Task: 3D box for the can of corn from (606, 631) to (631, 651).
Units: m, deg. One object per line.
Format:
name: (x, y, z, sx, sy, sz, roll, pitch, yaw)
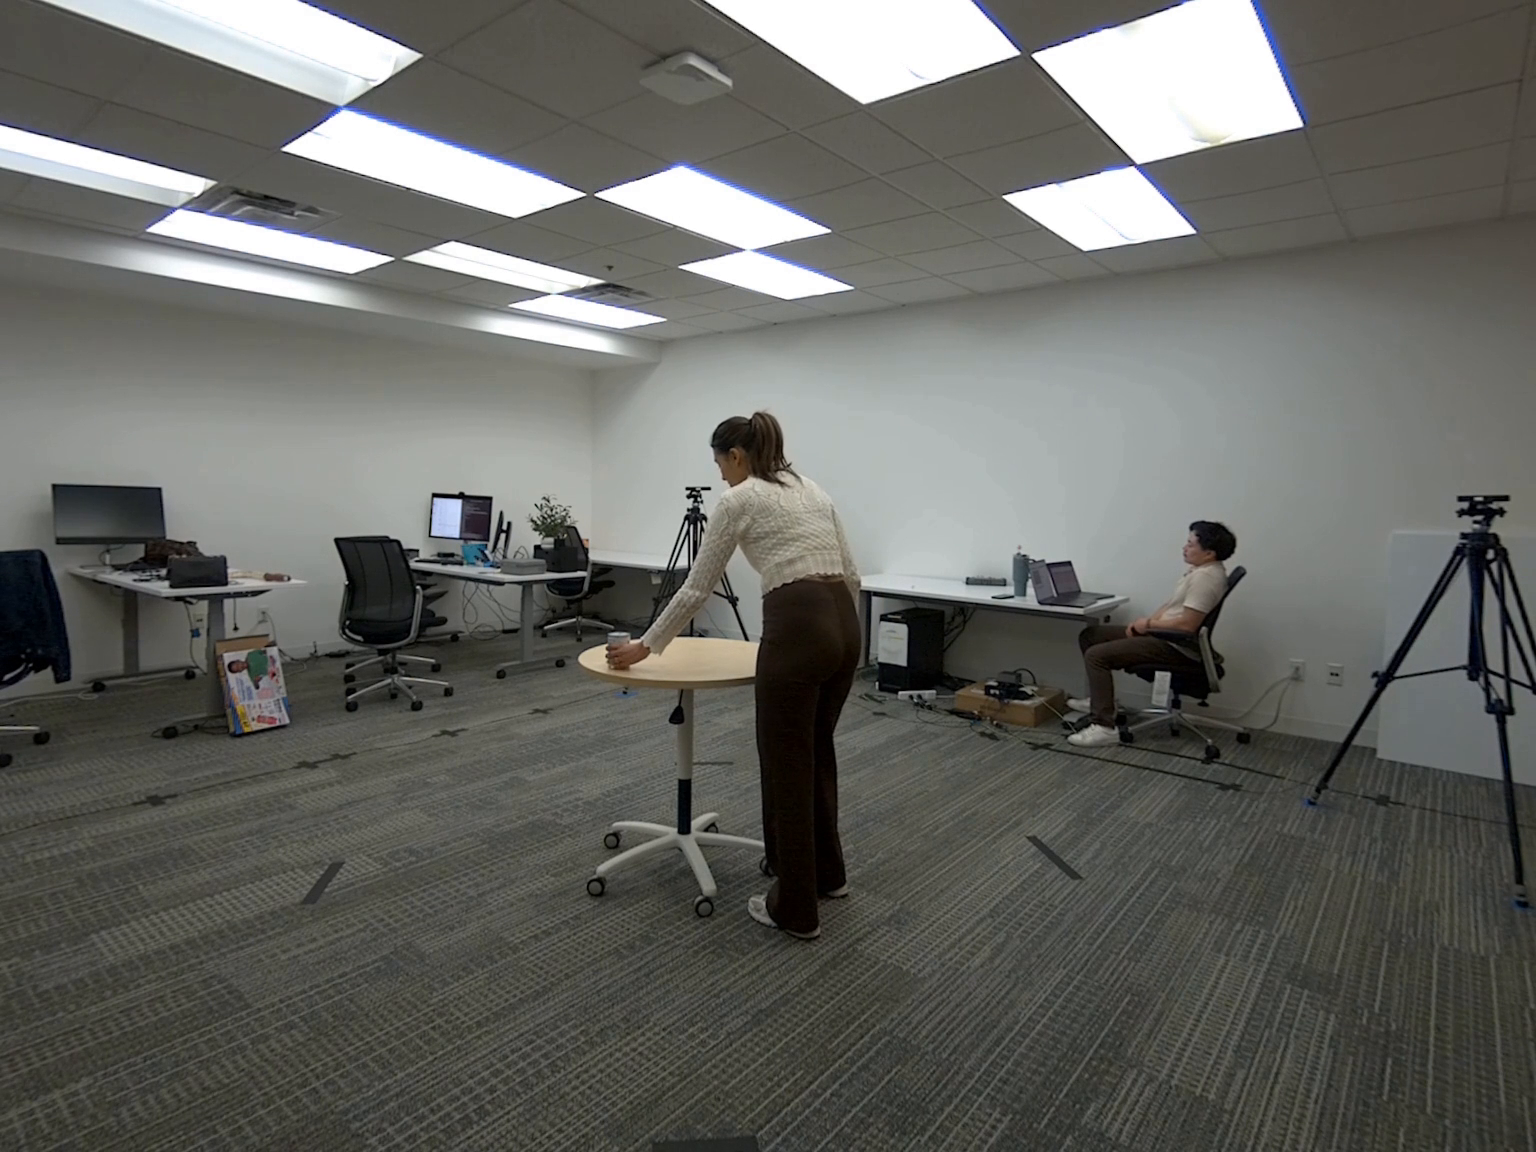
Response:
can of corn: (-0.513, 0.249, 2.853, 0.074, 0.110, 0.074, -1, 4, -2)
